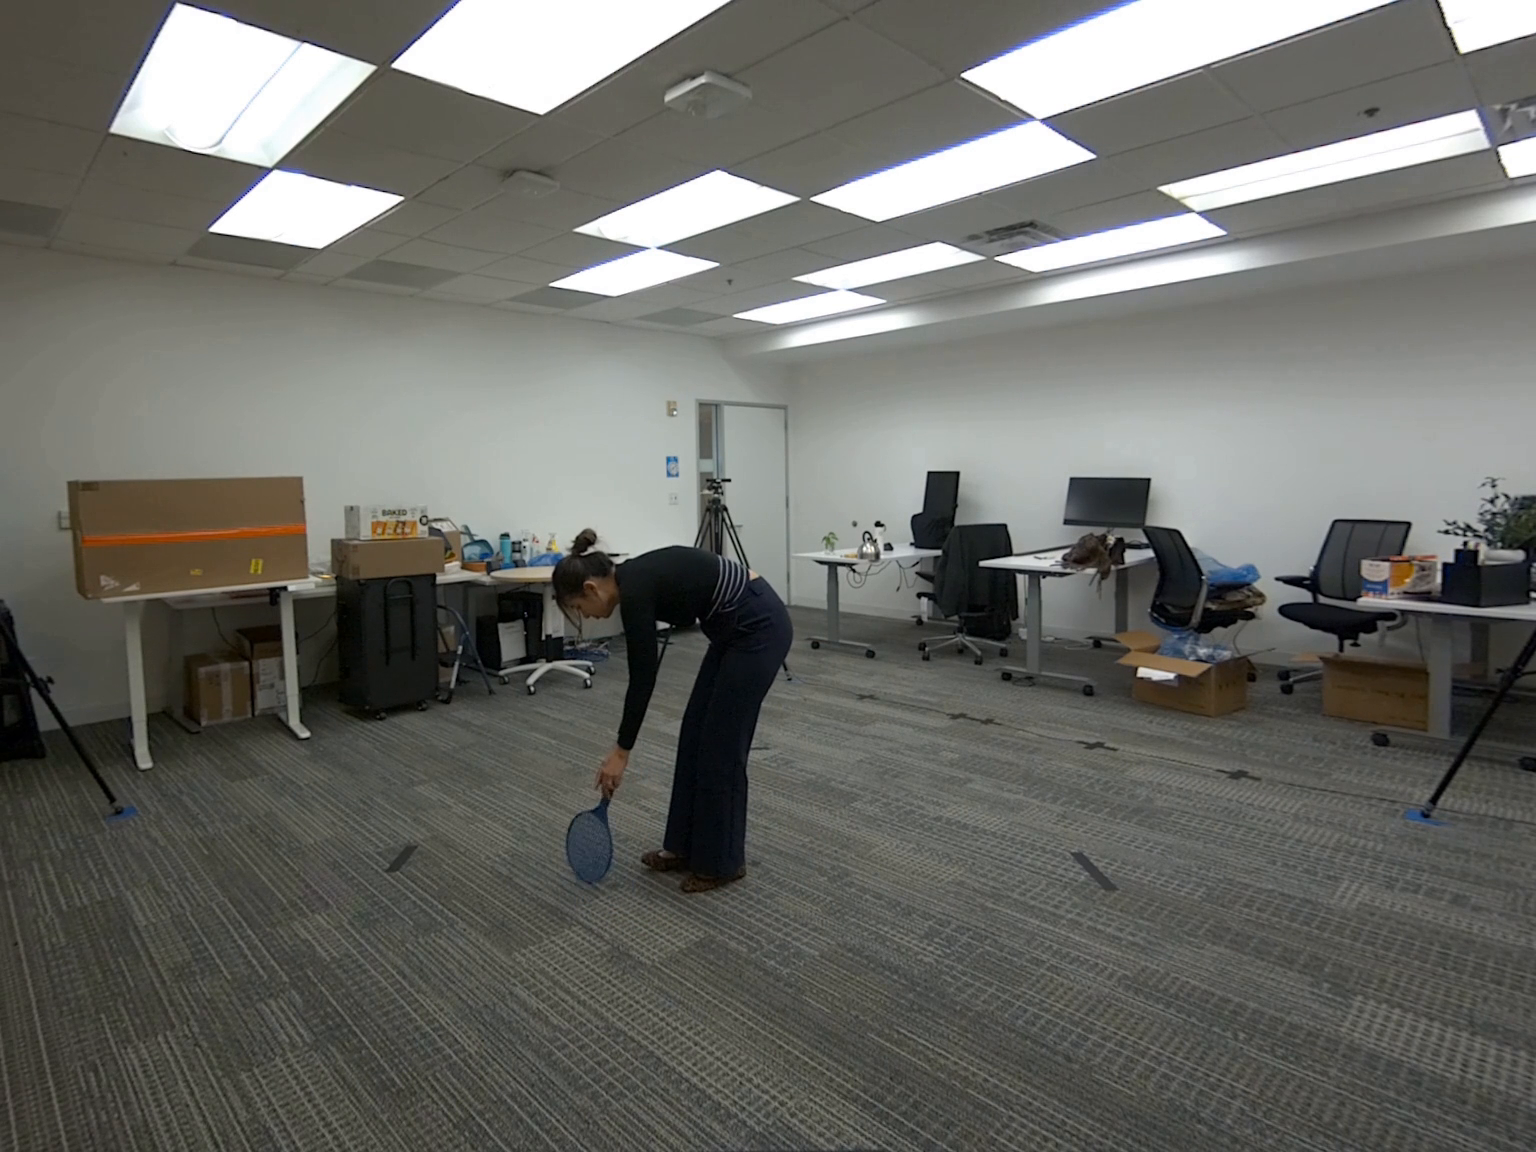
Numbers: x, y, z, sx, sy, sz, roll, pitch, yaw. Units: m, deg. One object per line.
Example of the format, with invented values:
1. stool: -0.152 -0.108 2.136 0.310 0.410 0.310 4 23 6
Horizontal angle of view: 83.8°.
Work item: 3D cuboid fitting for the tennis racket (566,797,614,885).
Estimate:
1. tennis racket: -0.574 0.876 2.936 0.221 0.430 0.031 35 19 28
